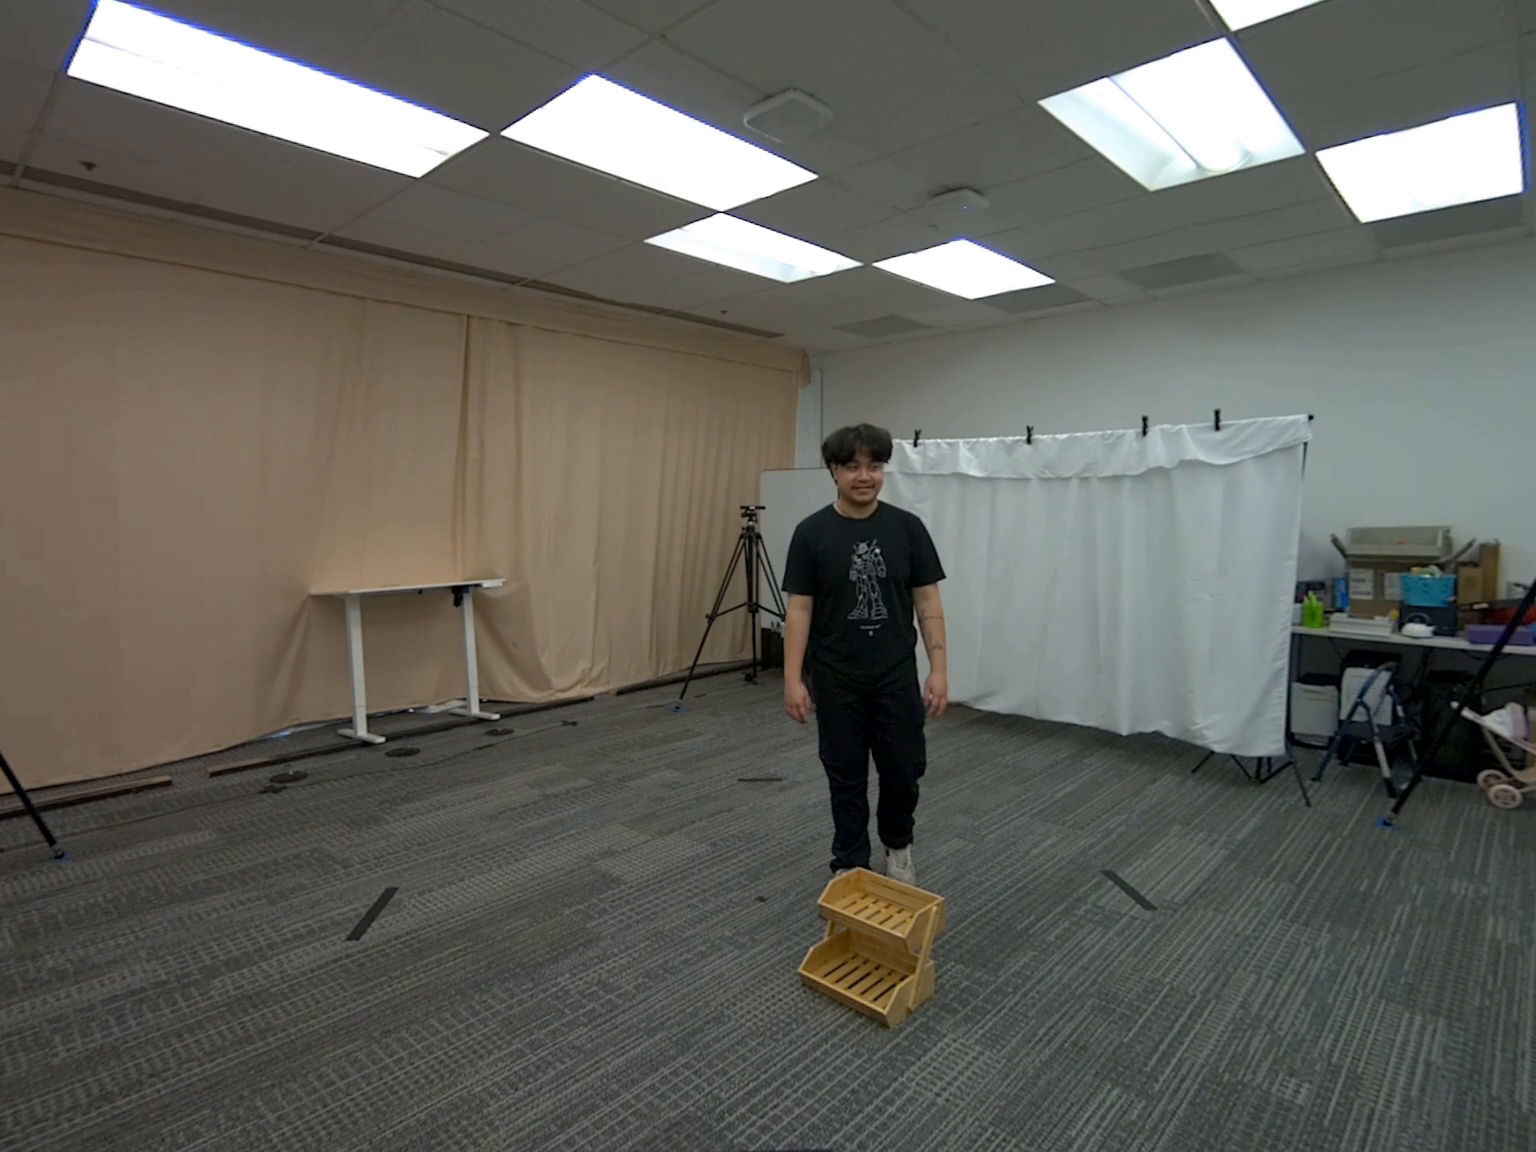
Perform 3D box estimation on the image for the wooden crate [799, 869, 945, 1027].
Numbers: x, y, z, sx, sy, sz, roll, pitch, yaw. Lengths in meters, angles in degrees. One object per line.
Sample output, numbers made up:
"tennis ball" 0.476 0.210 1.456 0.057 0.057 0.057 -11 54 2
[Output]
"wooden crate" 0.302 1.059 2.430 0.335 0.273 0.293 4 5 43
